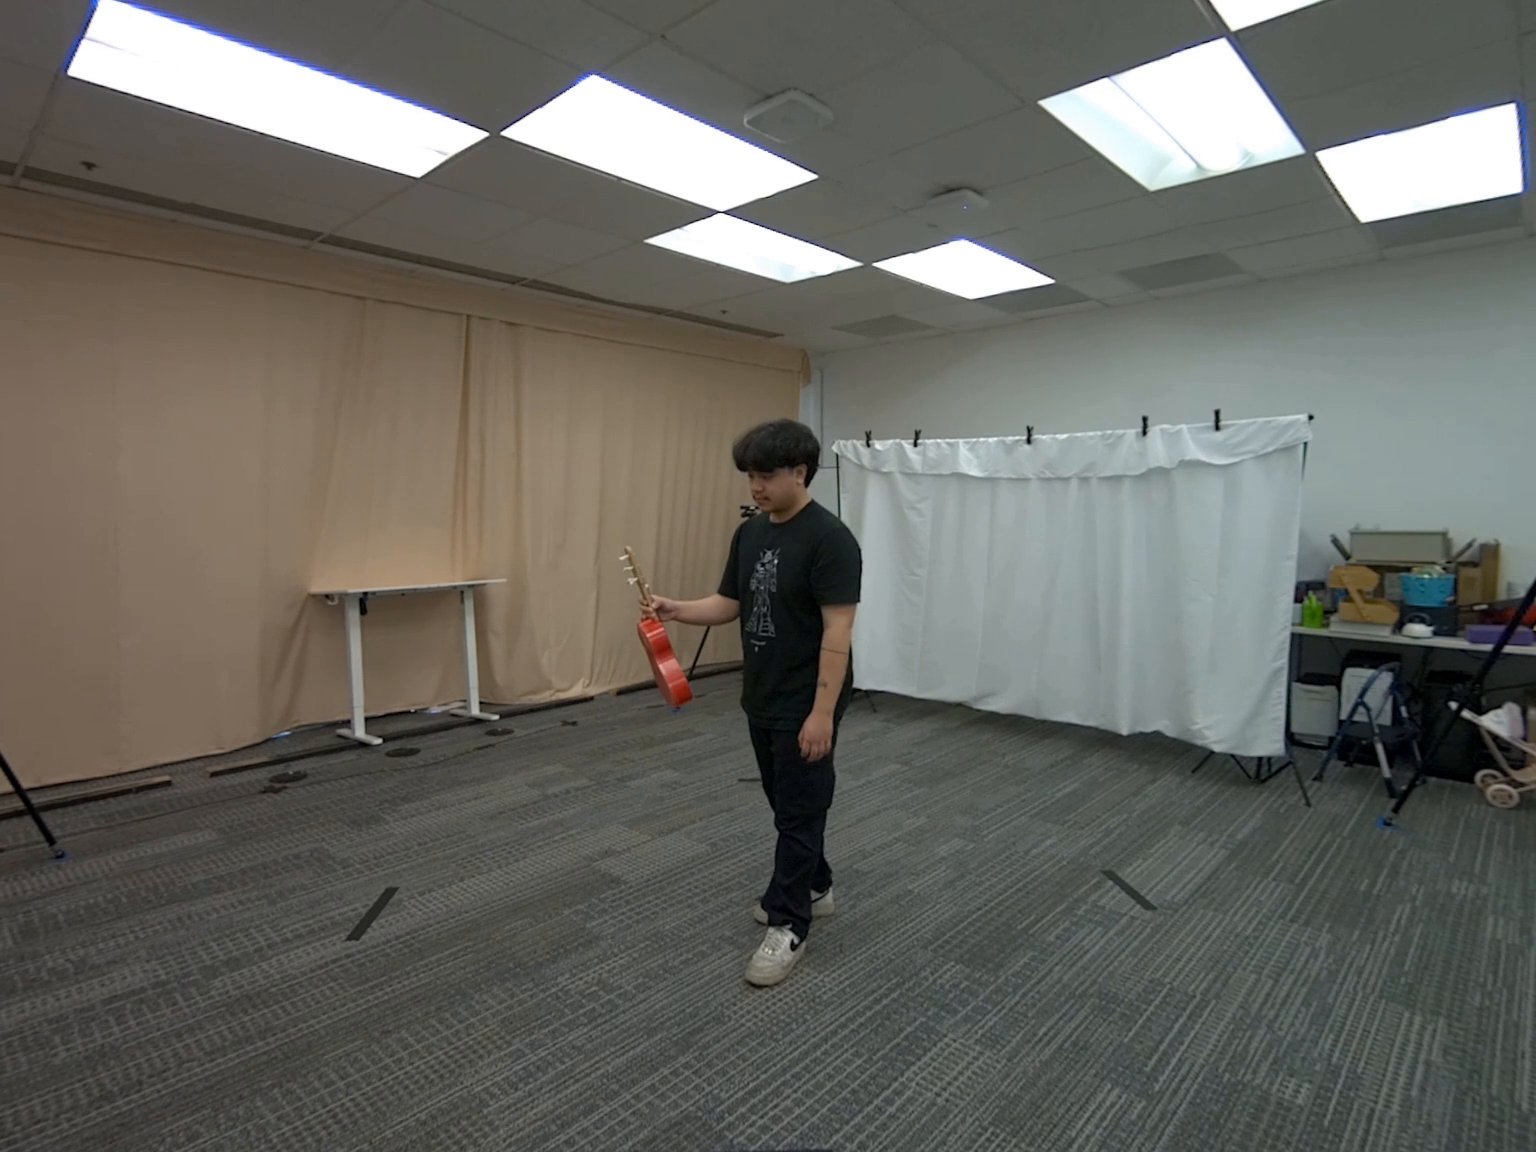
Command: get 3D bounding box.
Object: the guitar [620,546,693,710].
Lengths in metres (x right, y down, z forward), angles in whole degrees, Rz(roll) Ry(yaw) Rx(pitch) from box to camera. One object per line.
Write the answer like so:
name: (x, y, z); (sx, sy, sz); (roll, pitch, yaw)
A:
guitar: (-0.356, 0.159, 2.574); (0.070, 0.501, 0.194); (-21, -6, -16)
